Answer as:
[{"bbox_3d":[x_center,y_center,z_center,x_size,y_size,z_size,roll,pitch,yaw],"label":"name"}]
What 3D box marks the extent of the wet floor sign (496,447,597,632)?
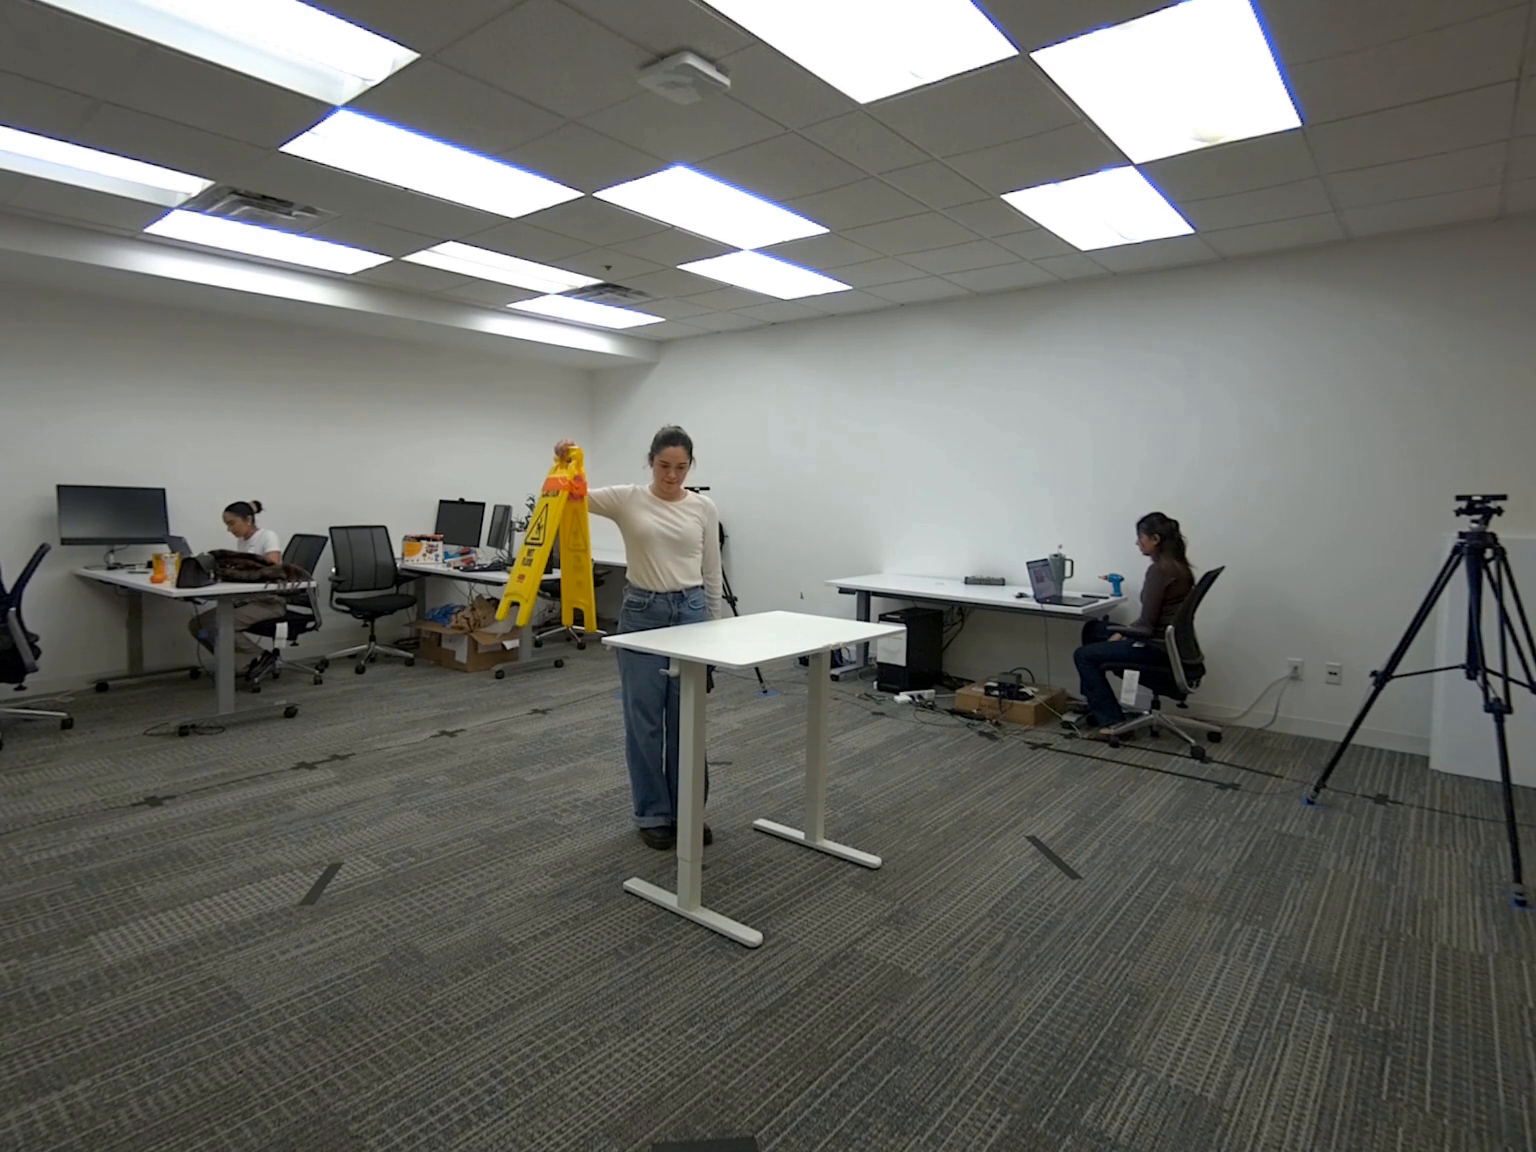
[{"bbox_3d":[-0.772,-0.139,3.069,0.280,0.647,0.291,8,-3,-34],"label":"wet floor sign"}]
